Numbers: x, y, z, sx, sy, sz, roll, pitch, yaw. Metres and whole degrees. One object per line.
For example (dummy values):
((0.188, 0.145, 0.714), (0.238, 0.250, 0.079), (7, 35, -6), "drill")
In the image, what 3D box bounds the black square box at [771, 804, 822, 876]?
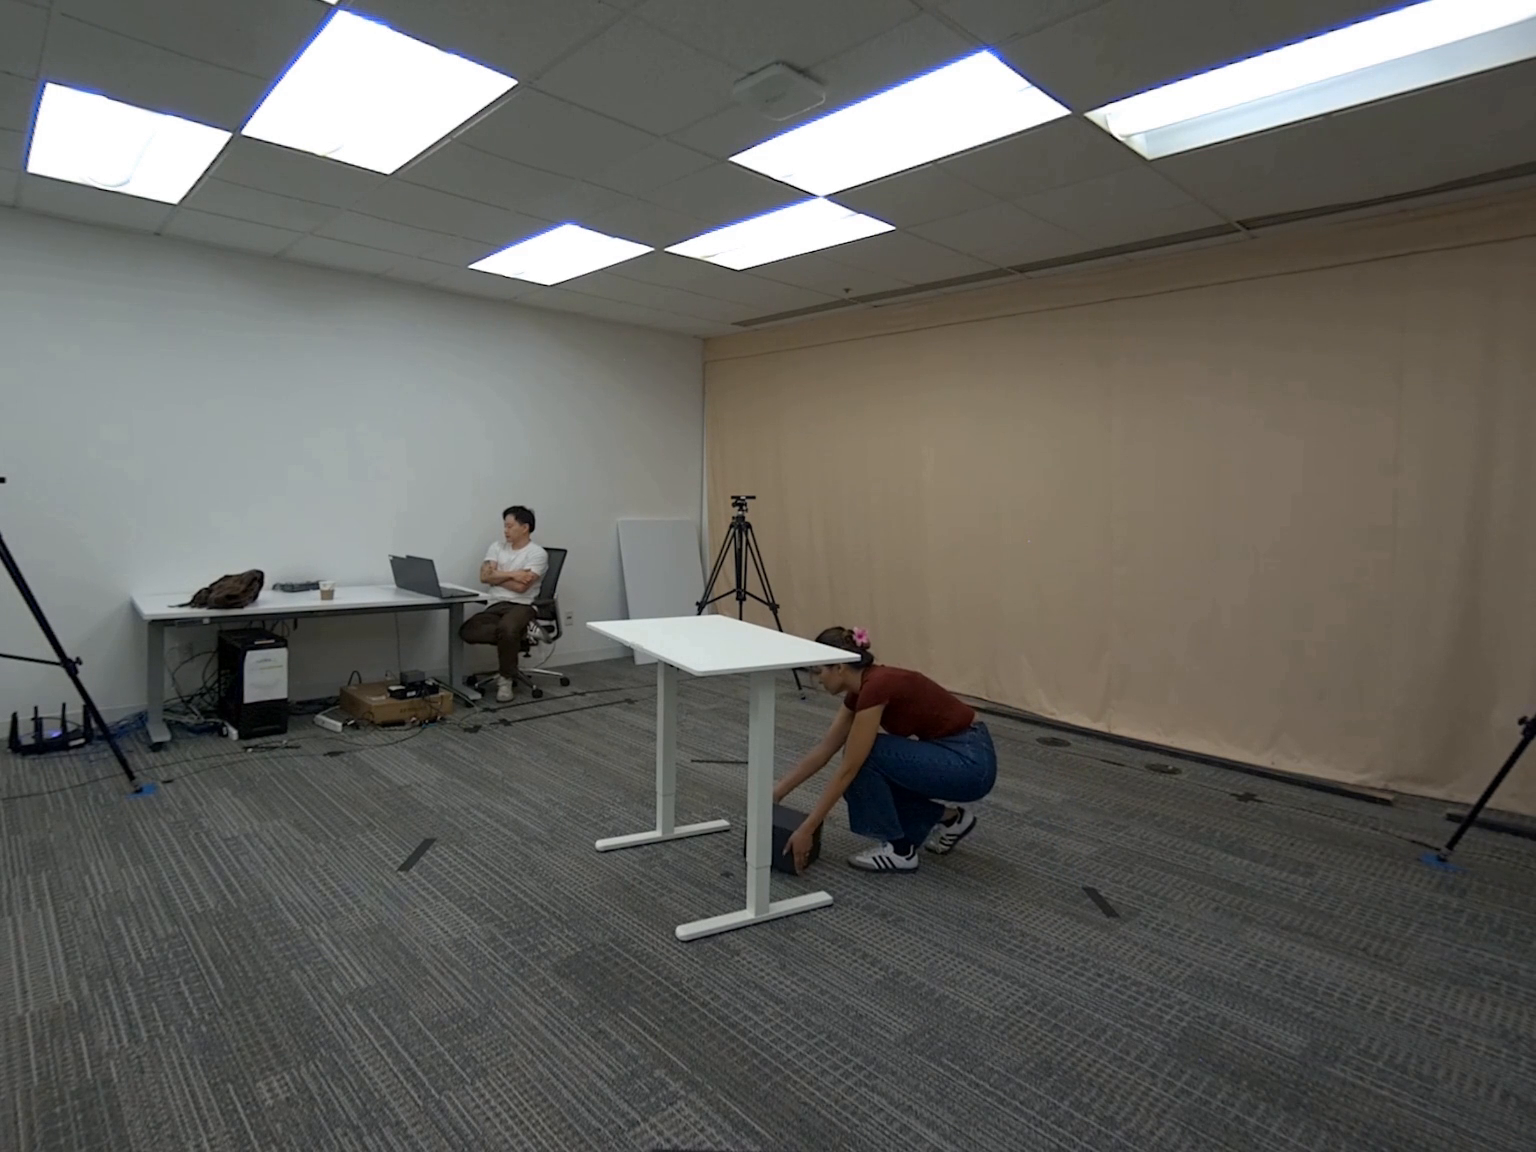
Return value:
((0.058, 0.996, 3.232), (0.233, 0.156, 0.212), (8, 3, 27), "black square box")
